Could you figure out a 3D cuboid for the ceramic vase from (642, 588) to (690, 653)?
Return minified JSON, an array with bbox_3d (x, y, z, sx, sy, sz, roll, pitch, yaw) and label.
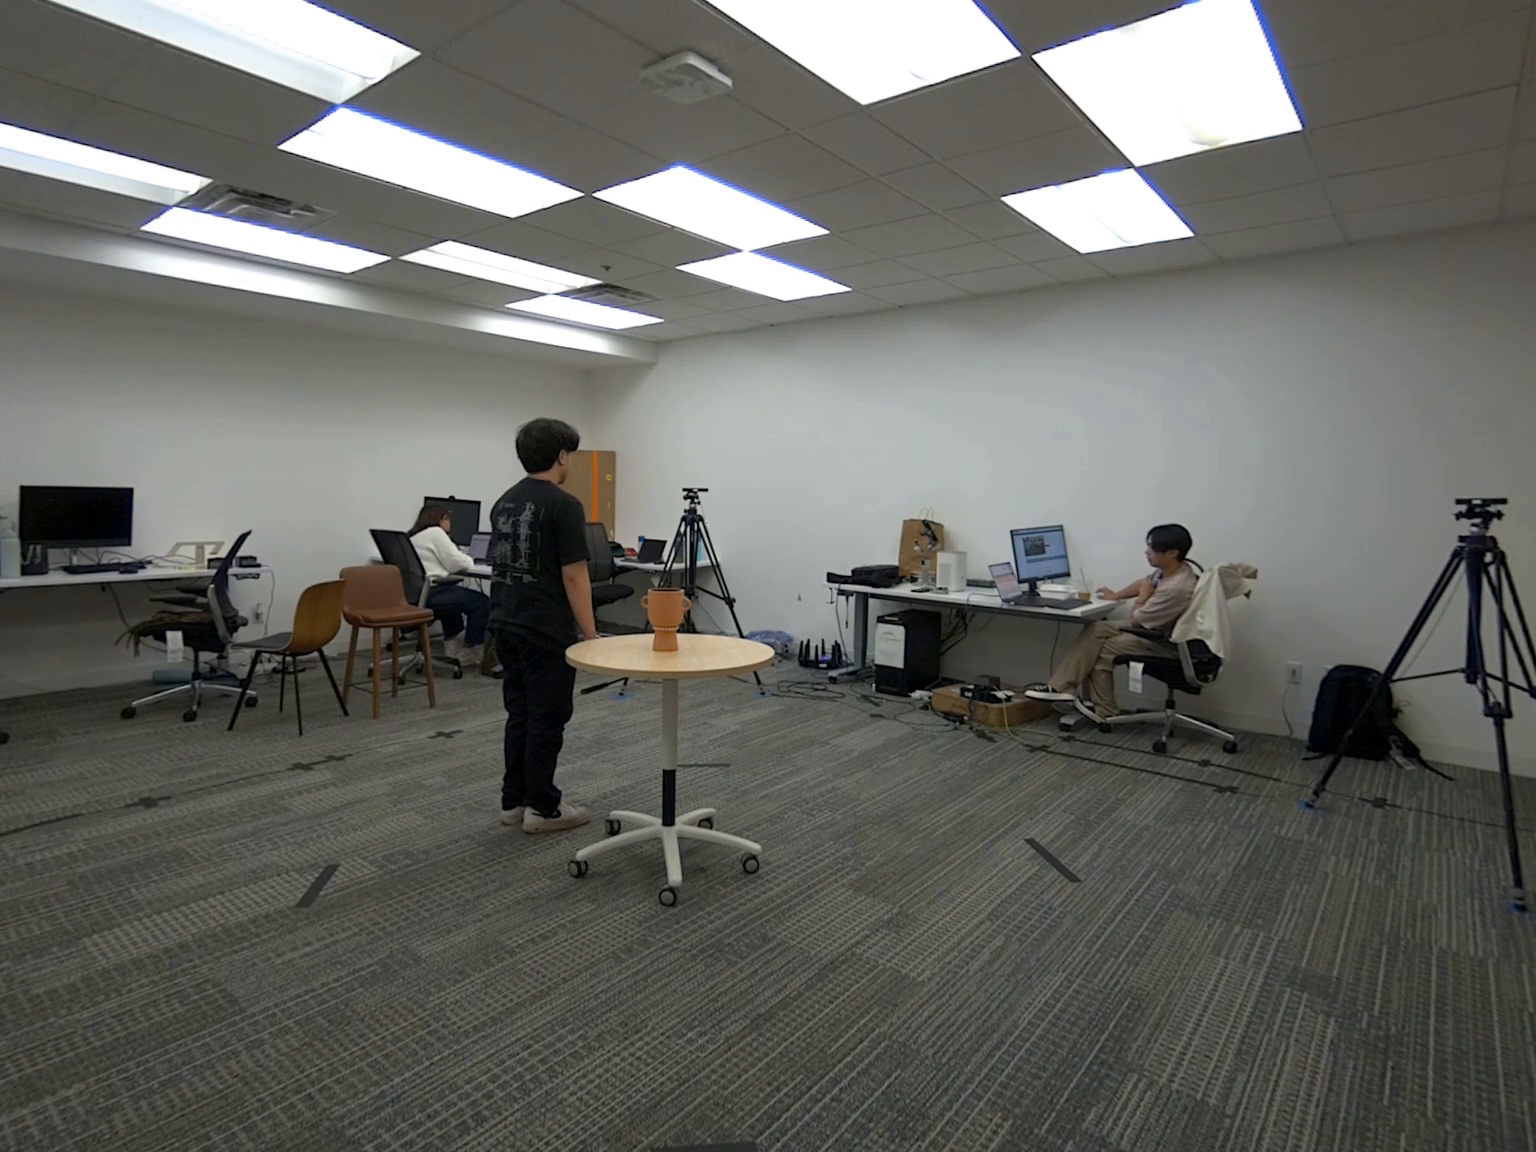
[{"bbox_3d":[-0.387,0.162,3.148,0.131,0.219,0.164,-3,5,-34],"label":"ceramic vase"}]
